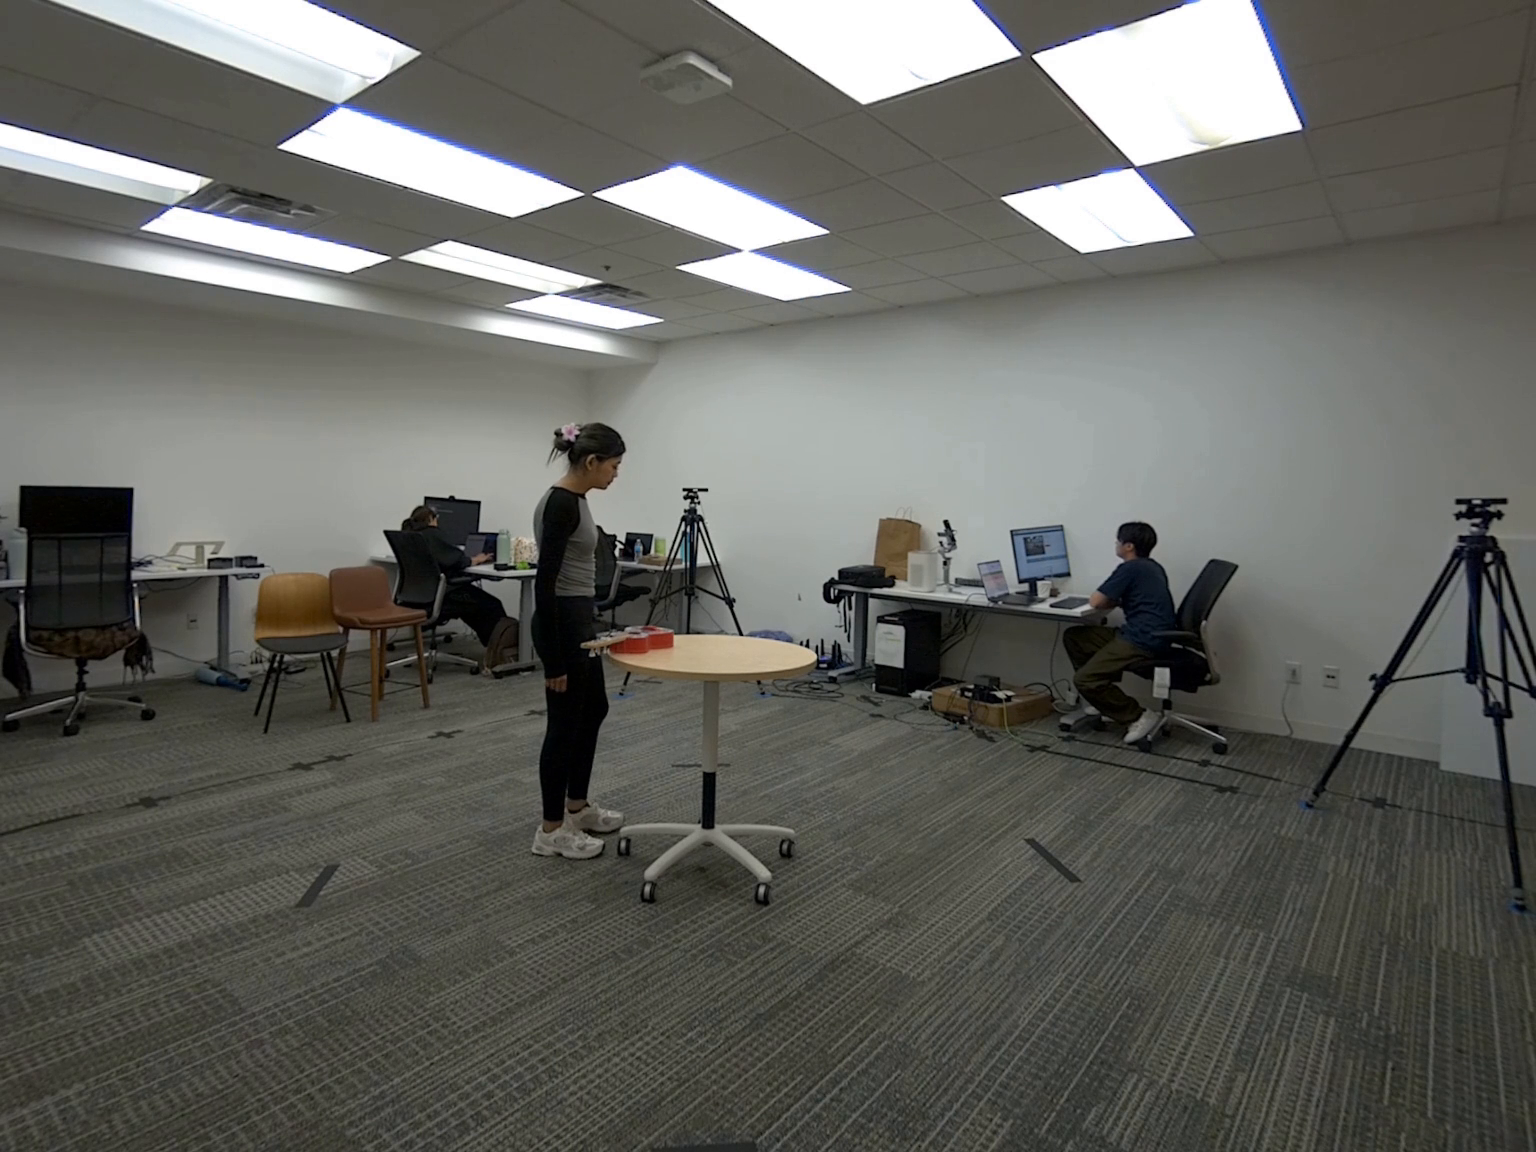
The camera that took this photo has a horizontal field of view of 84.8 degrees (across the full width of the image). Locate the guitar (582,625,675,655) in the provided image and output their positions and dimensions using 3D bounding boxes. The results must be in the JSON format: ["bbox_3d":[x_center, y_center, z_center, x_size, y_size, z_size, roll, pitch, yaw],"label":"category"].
[{"bbox_3d":[-0.562,0.241,3.068,0.199,0.070,0.484,6,6,33],"label":"guitar"}]
